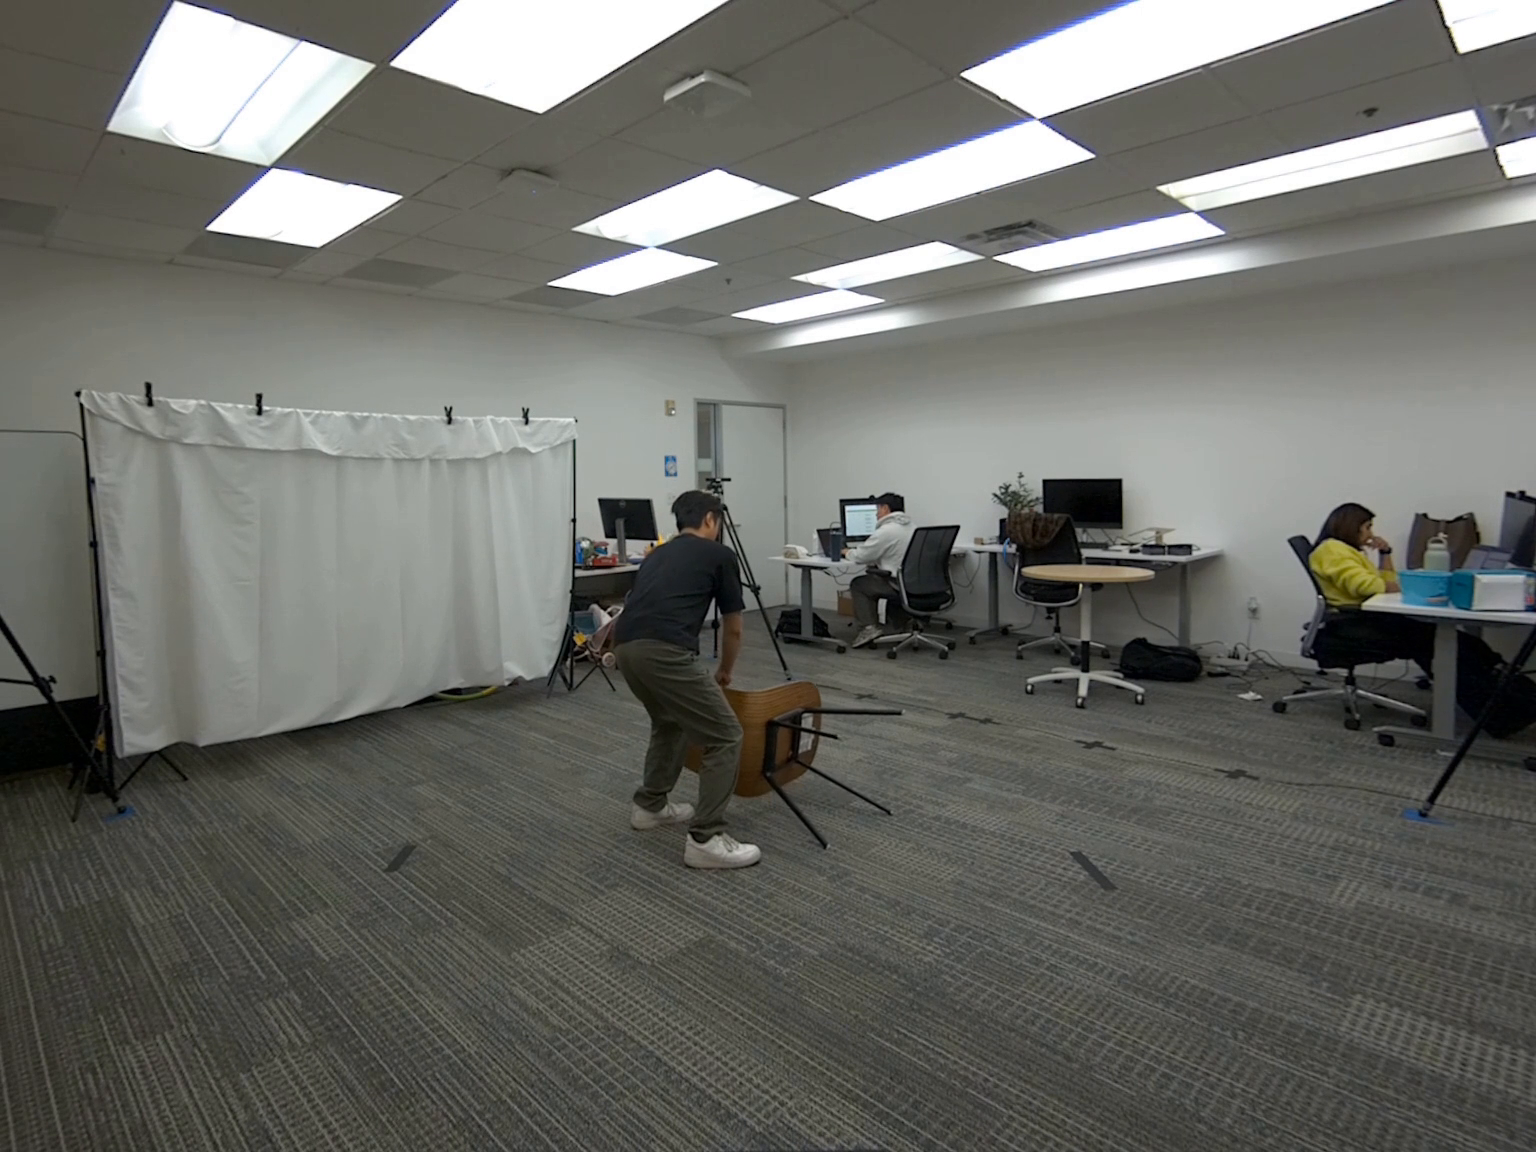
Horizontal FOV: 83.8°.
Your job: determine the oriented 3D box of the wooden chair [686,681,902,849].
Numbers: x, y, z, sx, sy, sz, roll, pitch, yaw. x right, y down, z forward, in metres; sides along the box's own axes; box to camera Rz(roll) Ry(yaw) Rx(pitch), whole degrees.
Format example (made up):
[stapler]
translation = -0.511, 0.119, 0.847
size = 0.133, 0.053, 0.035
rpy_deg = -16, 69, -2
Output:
[wooden chair]
translation = 0.069, 0.705, 3.625
size = 0.906, 0.474, 0.510
rpy_deg = 12, 13, 36
